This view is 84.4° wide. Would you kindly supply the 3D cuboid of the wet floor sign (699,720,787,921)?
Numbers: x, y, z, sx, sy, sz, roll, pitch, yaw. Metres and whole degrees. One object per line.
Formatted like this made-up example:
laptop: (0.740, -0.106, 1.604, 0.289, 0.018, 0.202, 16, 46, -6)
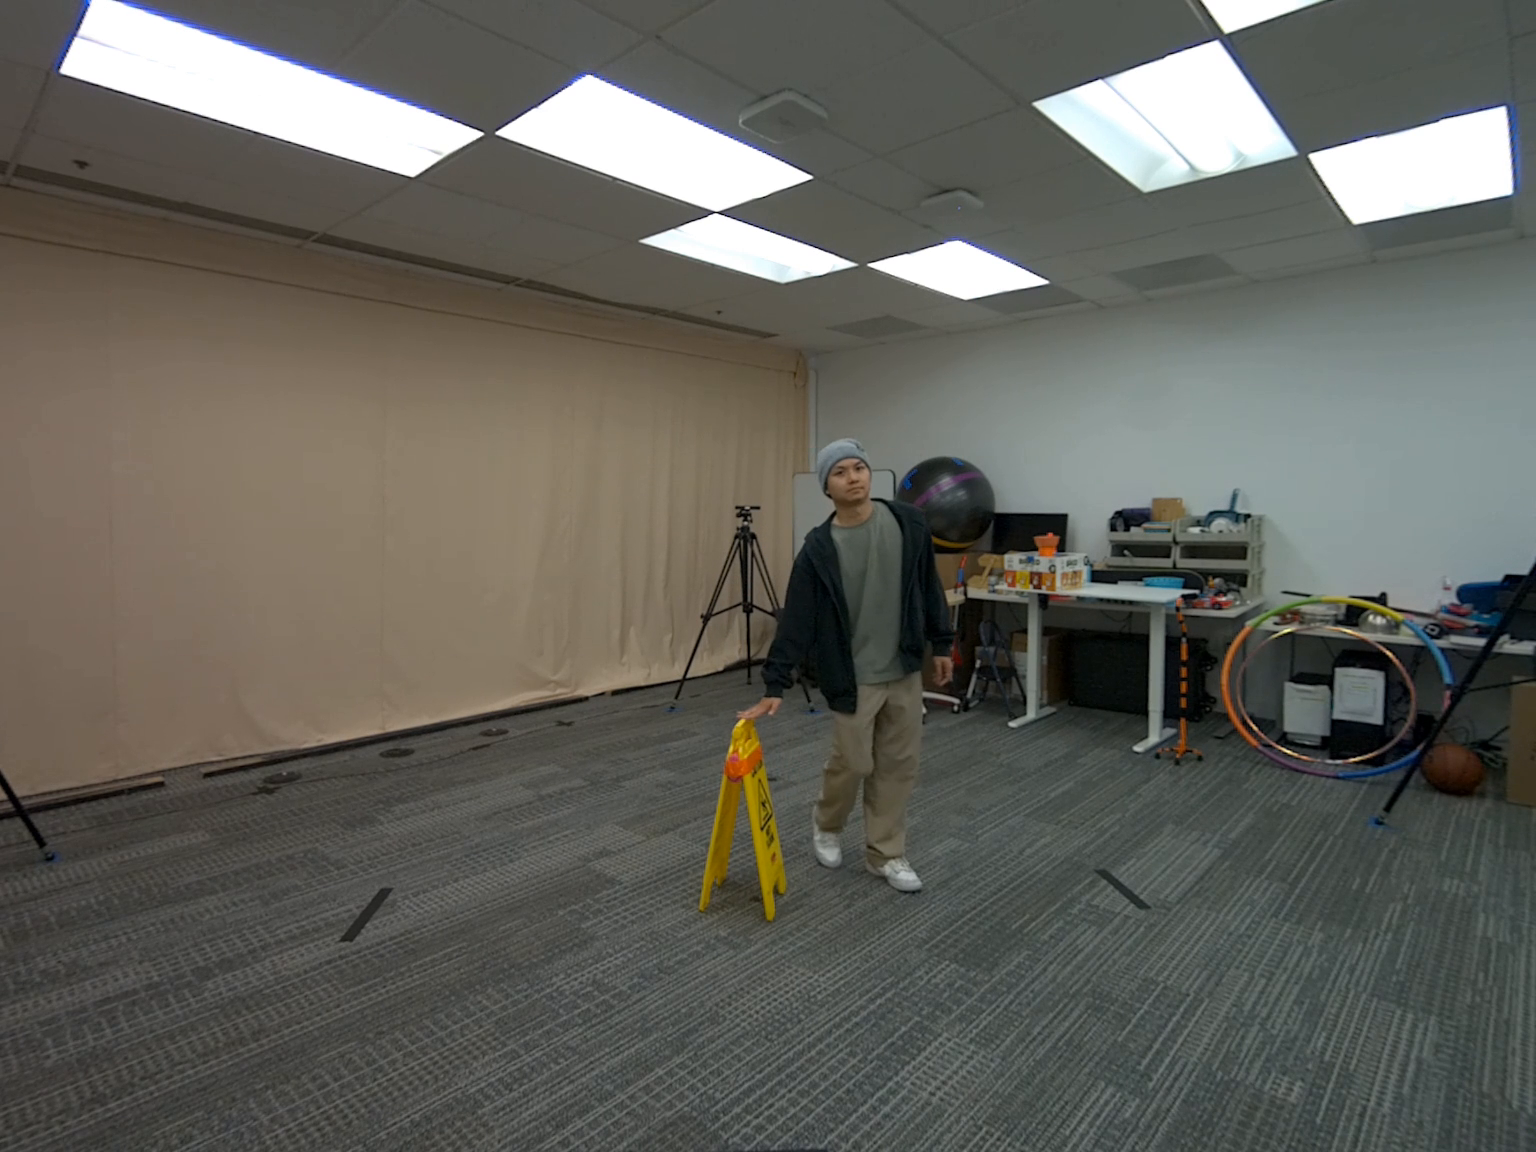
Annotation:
wet floor sign: (-0.084, 0.822, 2.966, 0.295, 0.645, 0.278, 1, 2, 15)
